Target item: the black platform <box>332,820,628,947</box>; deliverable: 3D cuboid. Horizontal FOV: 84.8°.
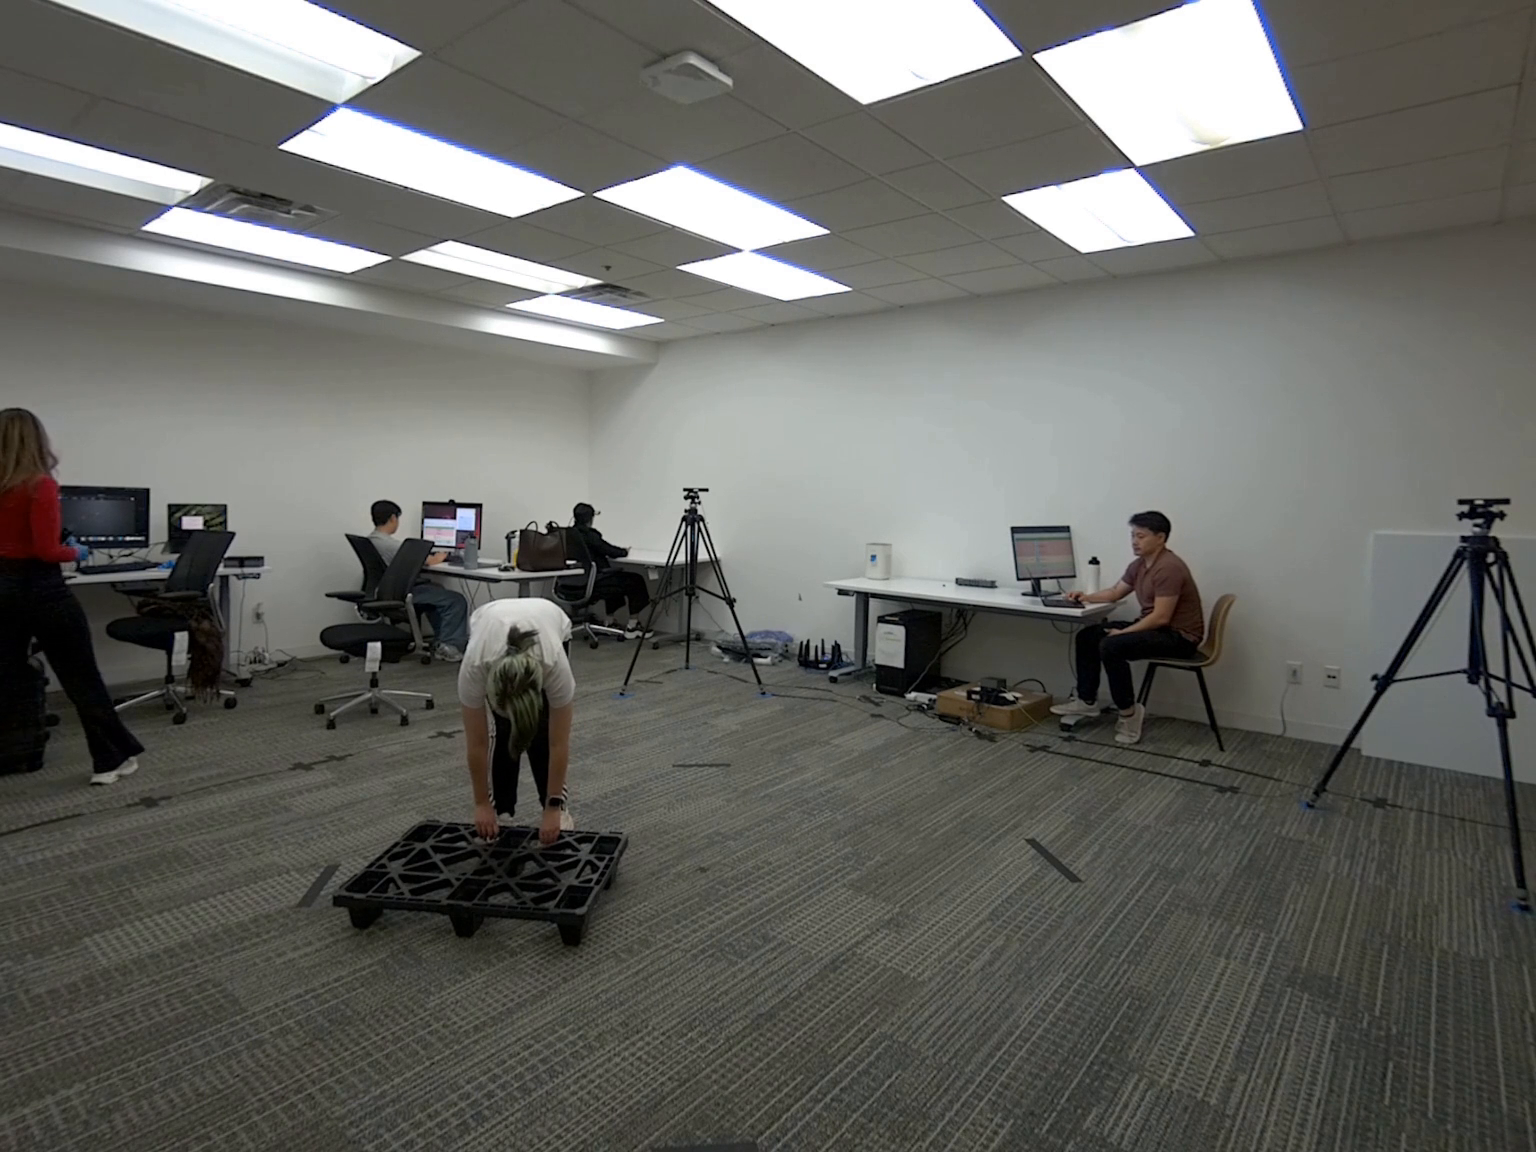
[{"bbox_3d":[-0.926,1.016,2.837,0.811,0.142,0.604,1,7,6],"label":"black platform"}]
